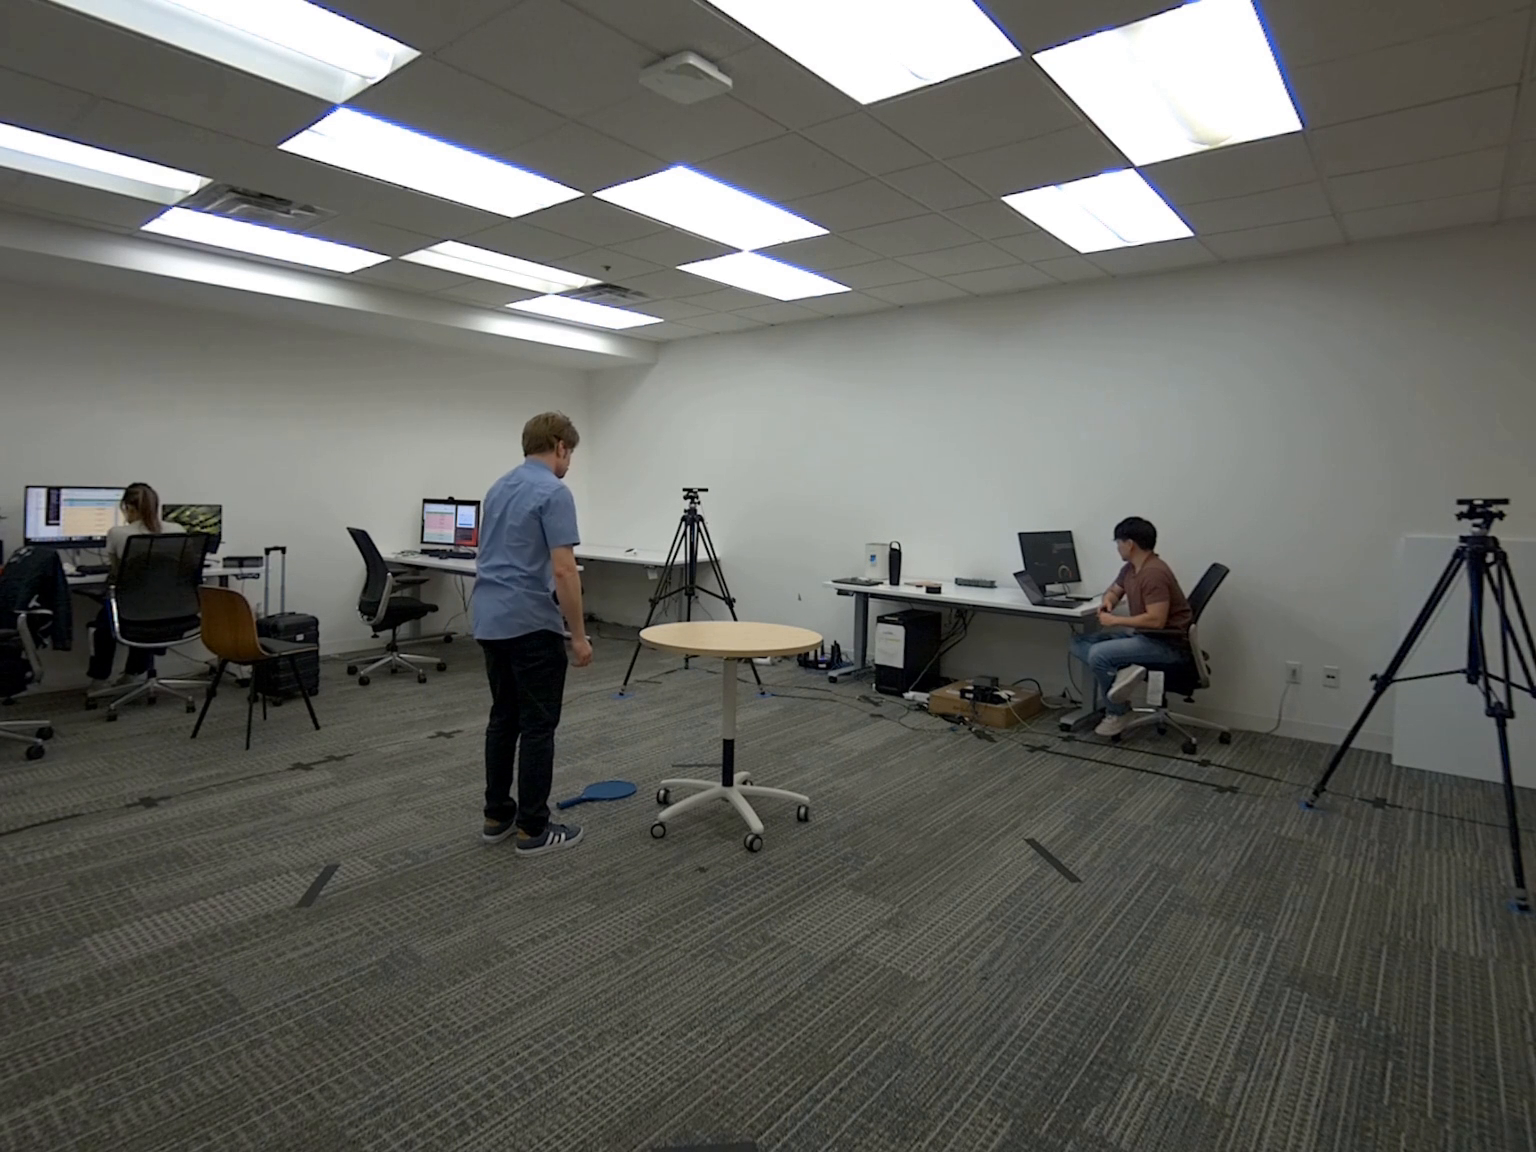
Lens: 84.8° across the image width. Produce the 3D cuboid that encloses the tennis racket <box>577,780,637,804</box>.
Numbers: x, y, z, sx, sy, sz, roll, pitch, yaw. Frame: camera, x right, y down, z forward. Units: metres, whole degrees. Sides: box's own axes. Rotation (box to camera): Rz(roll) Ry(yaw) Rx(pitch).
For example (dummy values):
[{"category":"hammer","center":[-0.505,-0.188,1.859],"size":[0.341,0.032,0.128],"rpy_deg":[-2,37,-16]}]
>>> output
[{"category":"tennis racket","center":[-0.788,0.981,3.832],"size":[0.221,0.031,0.420],"rpy_deg":[6,6,38]}]
